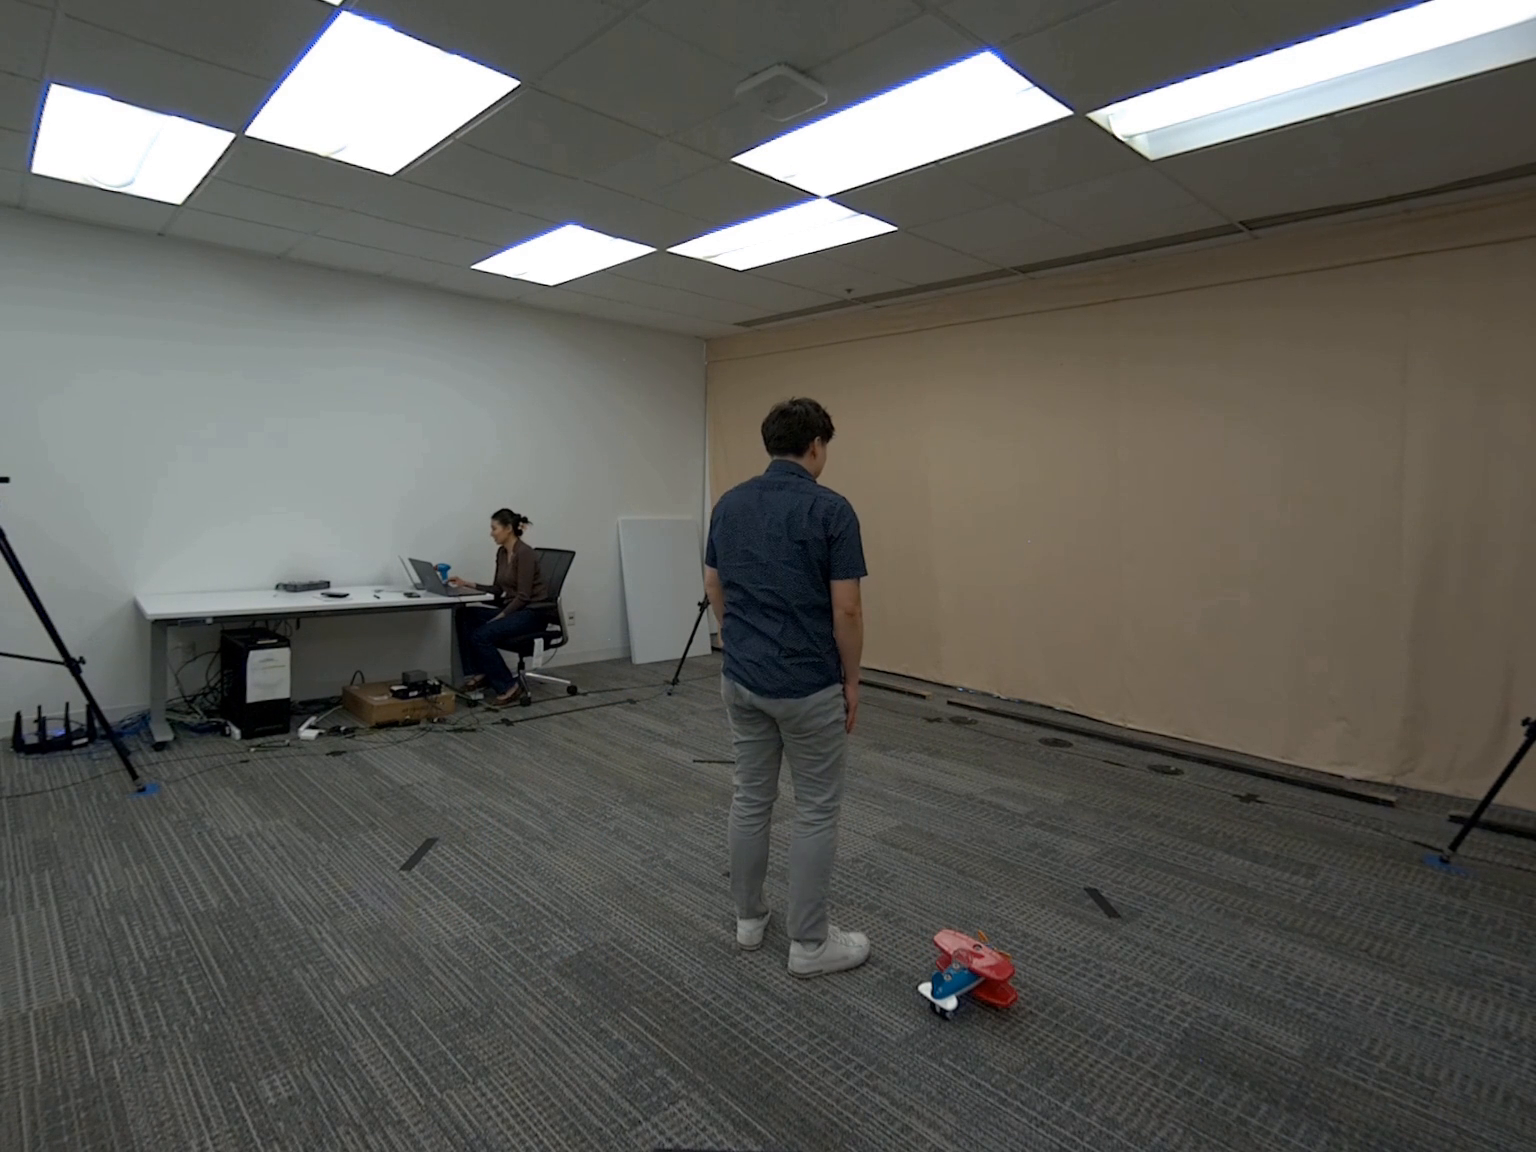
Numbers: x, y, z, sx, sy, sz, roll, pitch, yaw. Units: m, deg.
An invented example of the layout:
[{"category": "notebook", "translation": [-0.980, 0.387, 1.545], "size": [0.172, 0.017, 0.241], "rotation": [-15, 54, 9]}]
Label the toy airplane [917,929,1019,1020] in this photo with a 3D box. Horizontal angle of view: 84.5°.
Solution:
[{"category": "toy airplane", "translation": [0.554, 1.119, 2.320], "size": [0.256, 0.156, 0.254], "rotation": [4, 5, 27]}]
